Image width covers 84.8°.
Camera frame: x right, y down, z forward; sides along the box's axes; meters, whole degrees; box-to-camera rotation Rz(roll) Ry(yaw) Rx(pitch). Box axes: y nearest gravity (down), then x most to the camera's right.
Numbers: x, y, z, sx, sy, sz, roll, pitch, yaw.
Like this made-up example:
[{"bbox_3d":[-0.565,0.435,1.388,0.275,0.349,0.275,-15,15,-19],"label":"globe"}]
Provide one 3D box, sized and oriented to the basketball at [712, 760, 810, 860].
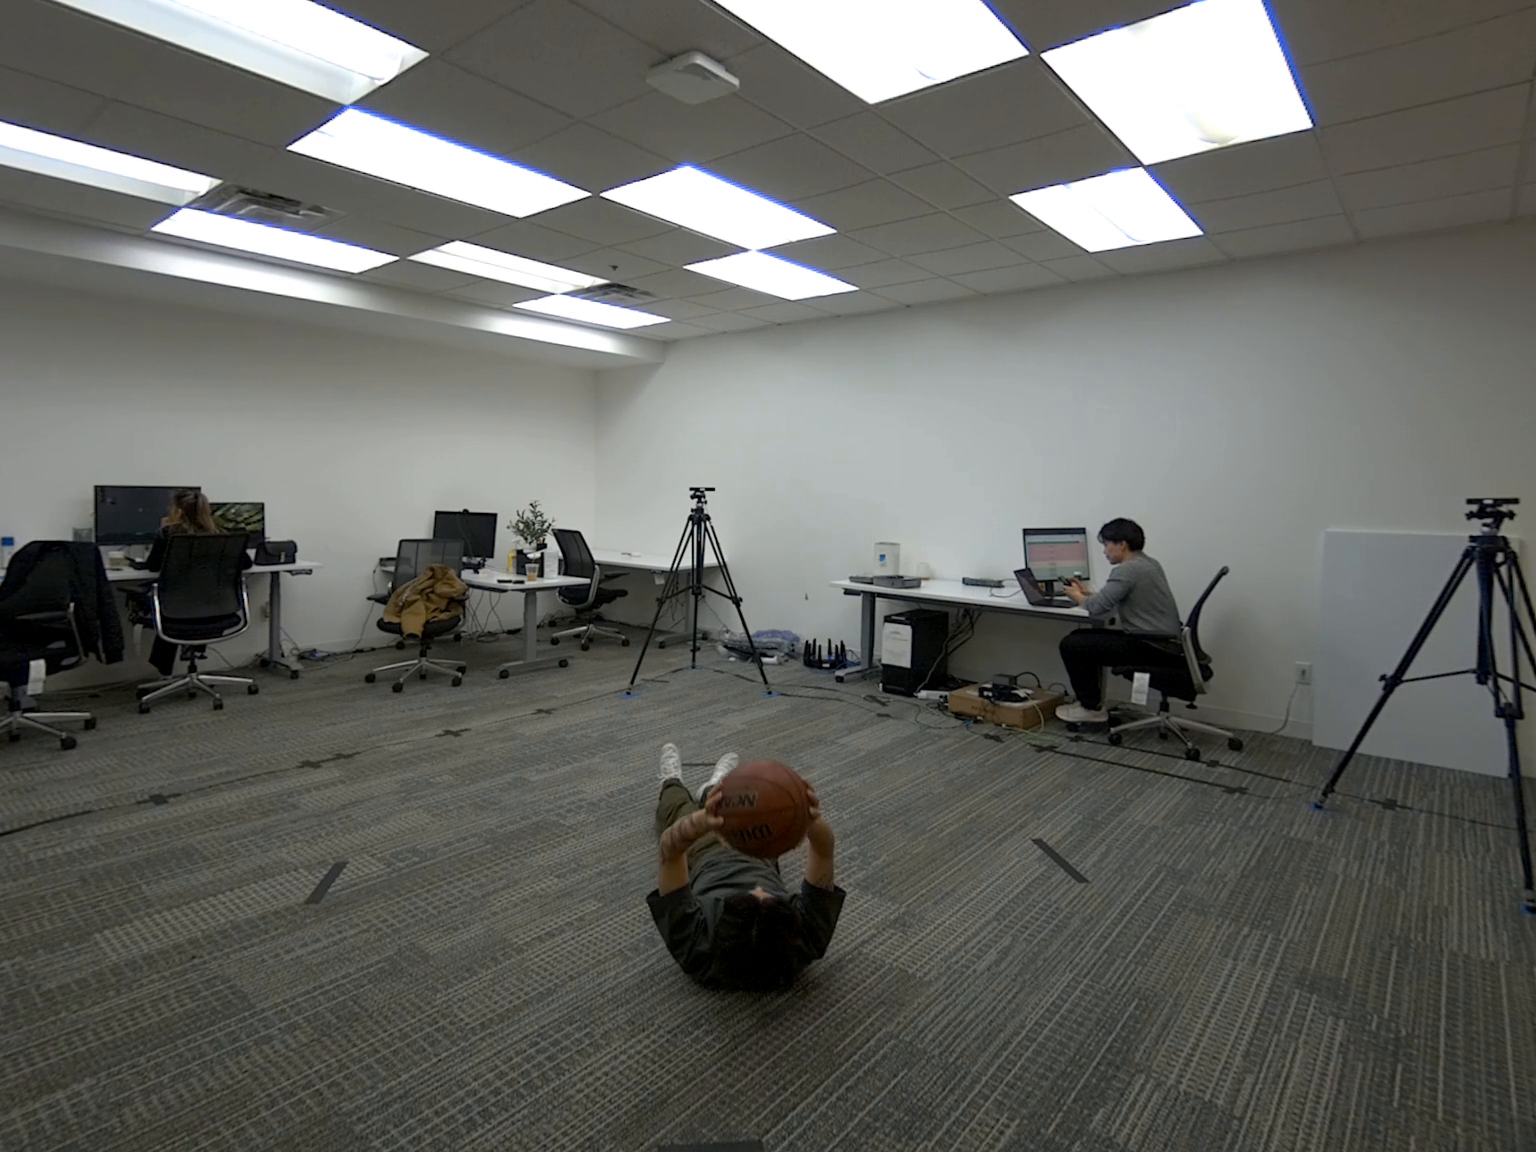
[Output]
[{"bbox_3d":[-0.020,0.580,2.127,0.235,0.235,0.237,1,4,-2],"label":"basketball"}]
